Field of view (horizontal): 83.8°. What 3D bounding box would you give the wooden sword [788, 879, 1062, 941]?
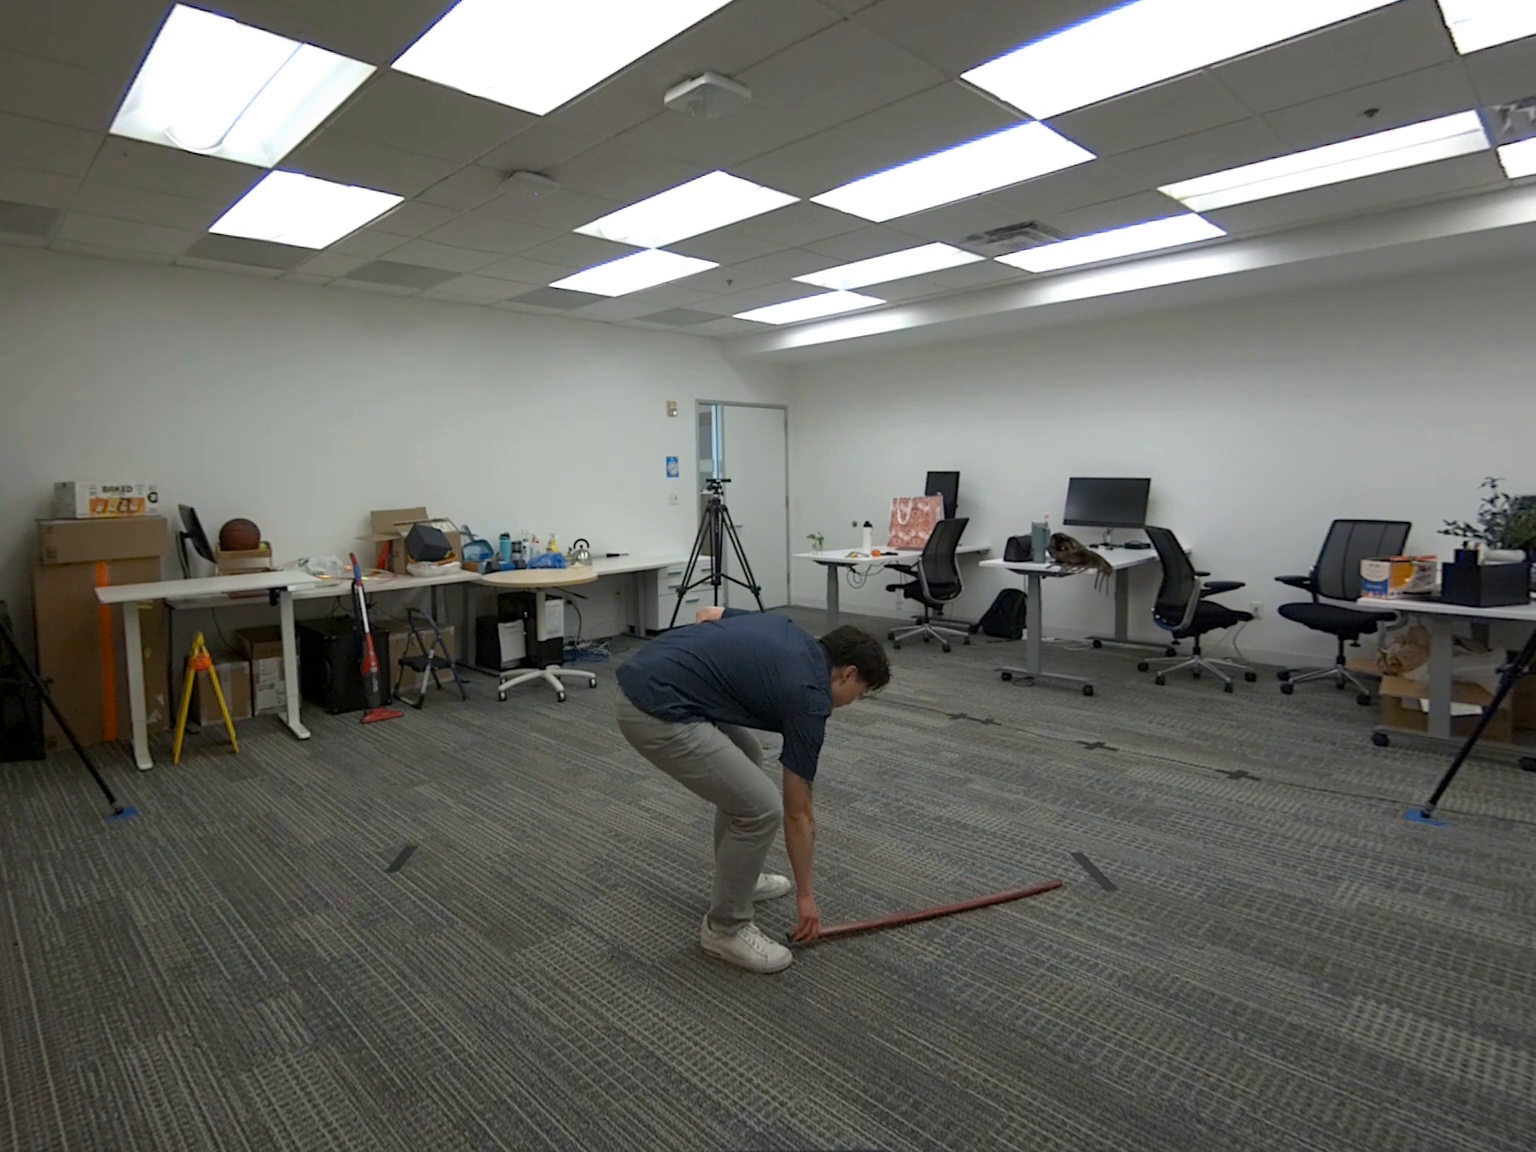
[{"bbox_3d":[0.525,1.056,2.723,1.006,0.024,0.052,-3,-3,-21],"label":"wooden sword"}]
